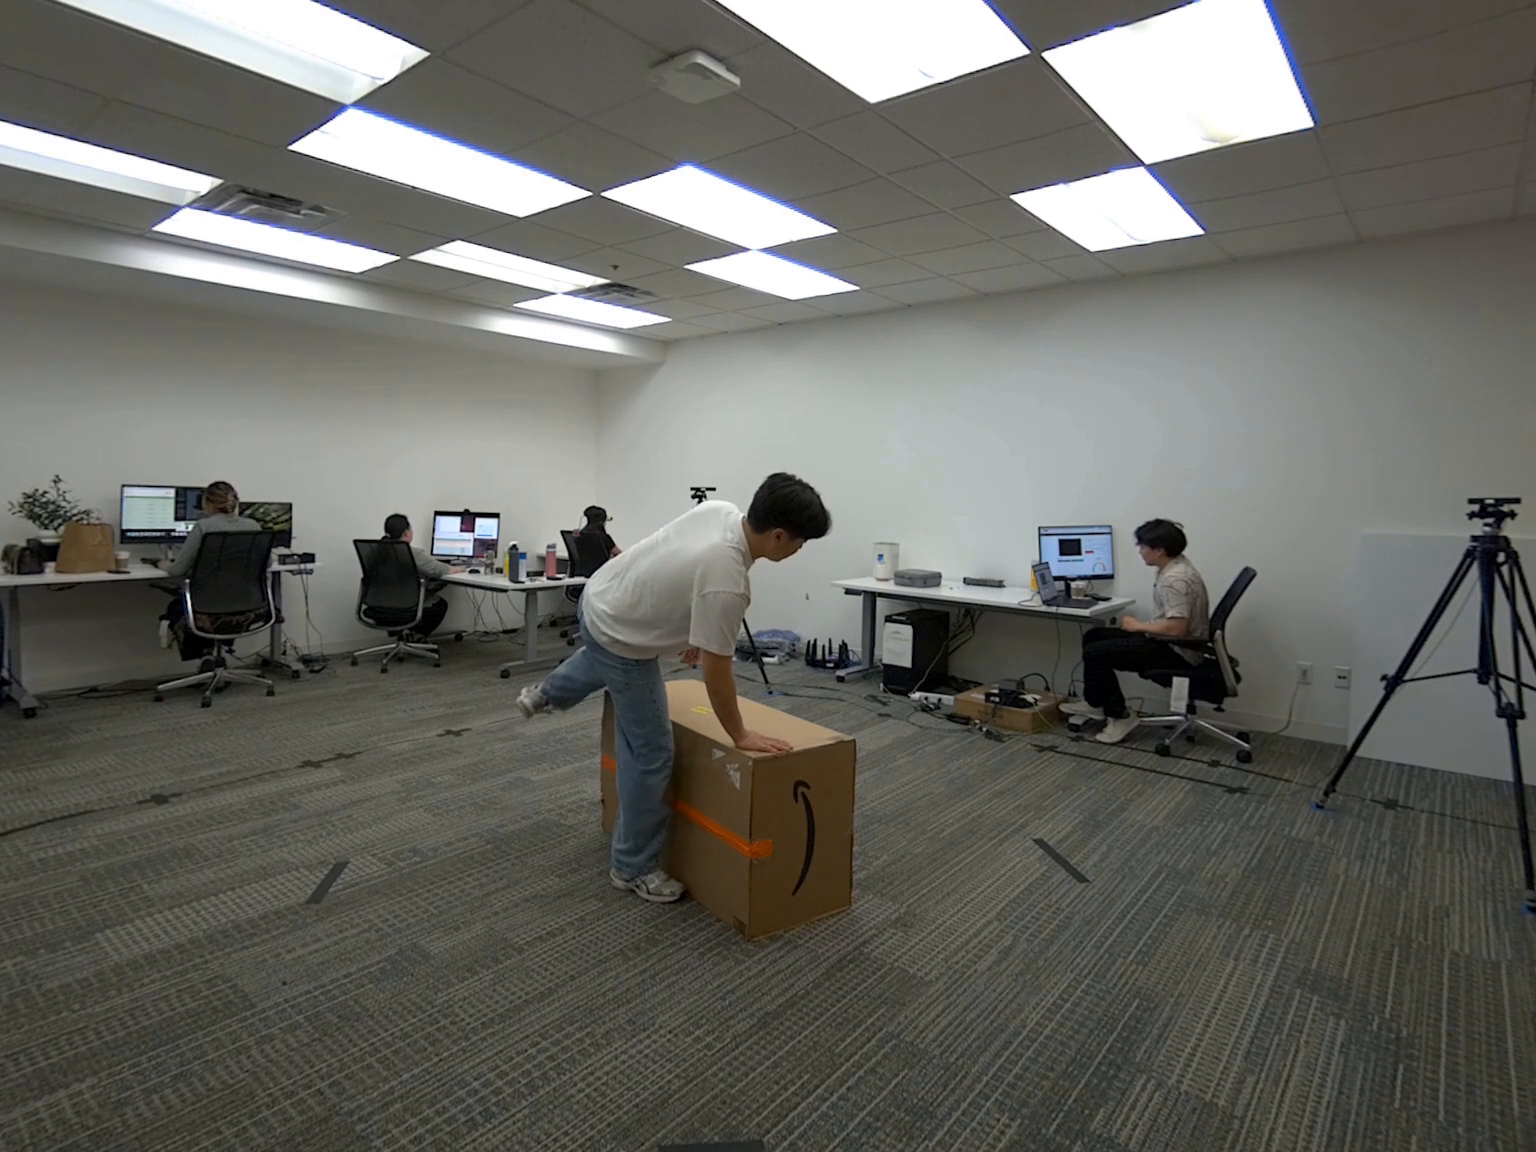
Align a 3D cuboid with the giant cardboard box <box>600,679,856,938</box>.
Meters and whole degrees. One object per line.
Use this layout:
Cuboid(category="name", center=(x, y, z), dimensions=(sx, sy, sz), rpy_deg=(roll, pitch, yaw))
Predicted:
Cuboid(category="giant cardboard box", center=(-0.195, 0.779, 3.123), dimensions=(0.414, 0.575, 1.060), rpy_deg=(-1, 5, -35))
